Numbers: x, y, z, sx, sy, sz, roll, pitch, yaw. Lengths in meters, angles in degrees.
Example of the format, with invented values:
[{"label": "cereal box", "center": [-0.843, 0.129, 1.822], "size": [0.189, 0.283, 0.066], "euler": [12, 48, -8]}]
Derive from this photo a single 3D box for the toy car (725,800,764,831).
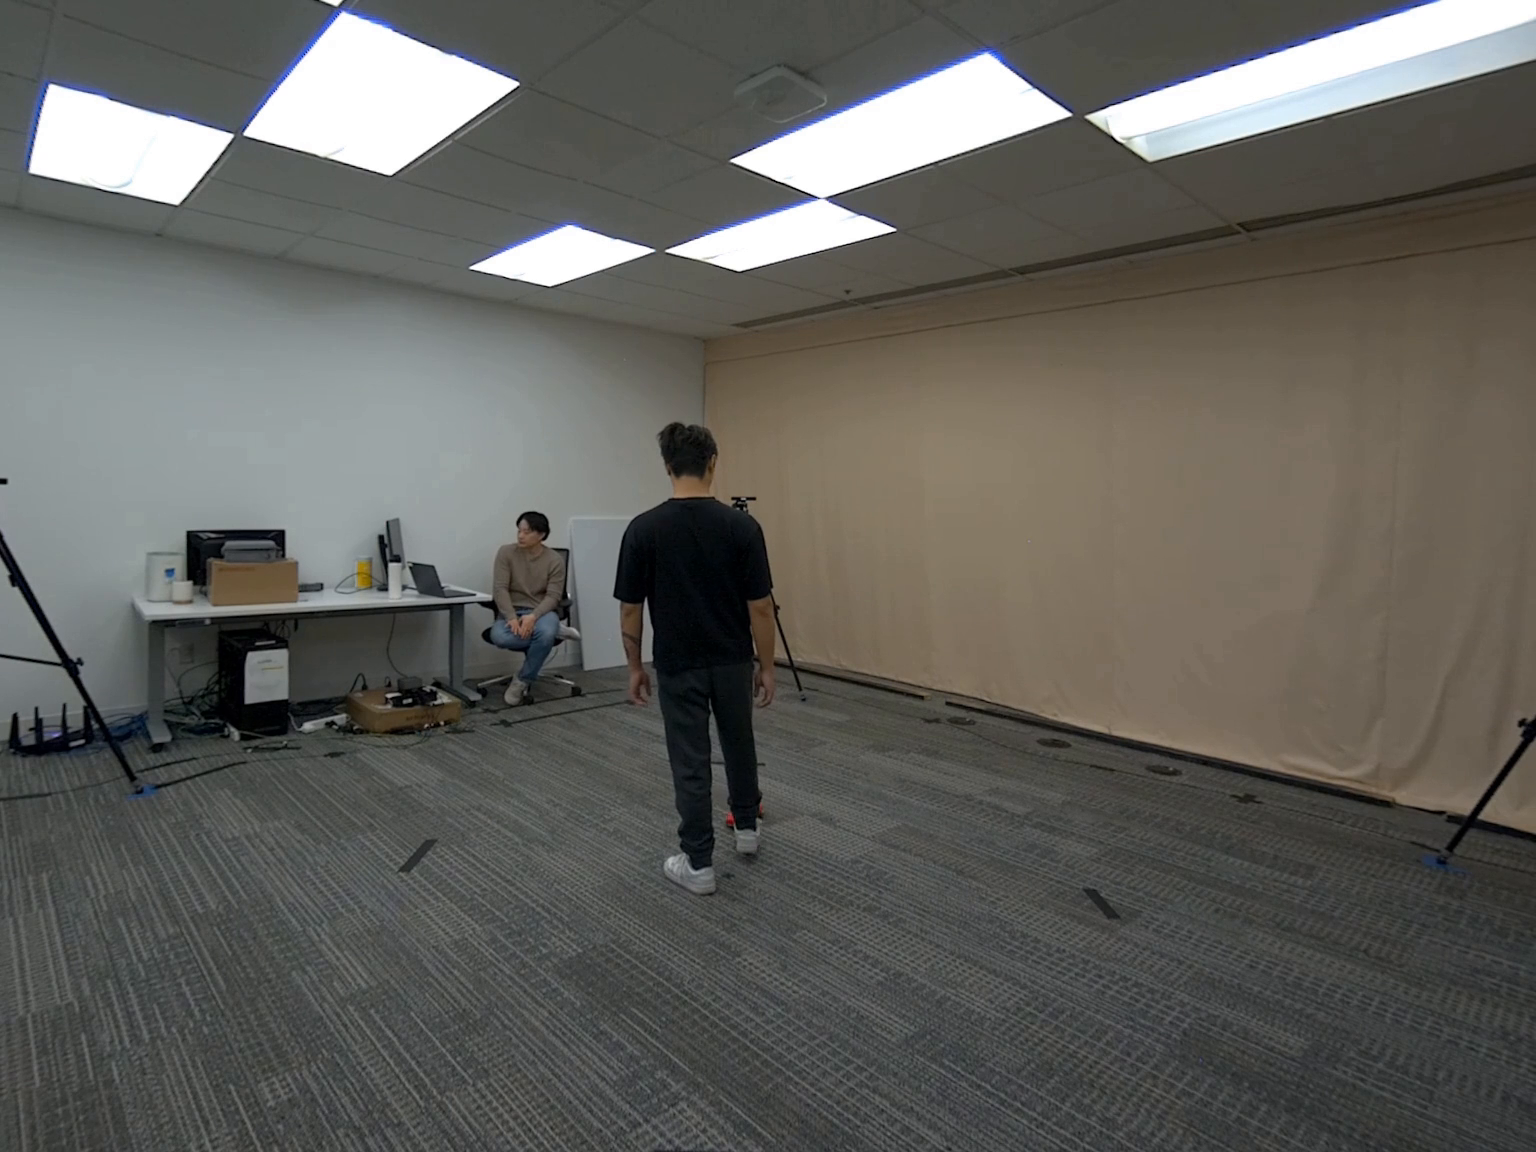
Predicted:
[{"label": "toy car", "center": [-0.110, 1.036, 3.620], "size": [0.132, 0.083, 0.250], "euler": [3, -6, 16]}]
